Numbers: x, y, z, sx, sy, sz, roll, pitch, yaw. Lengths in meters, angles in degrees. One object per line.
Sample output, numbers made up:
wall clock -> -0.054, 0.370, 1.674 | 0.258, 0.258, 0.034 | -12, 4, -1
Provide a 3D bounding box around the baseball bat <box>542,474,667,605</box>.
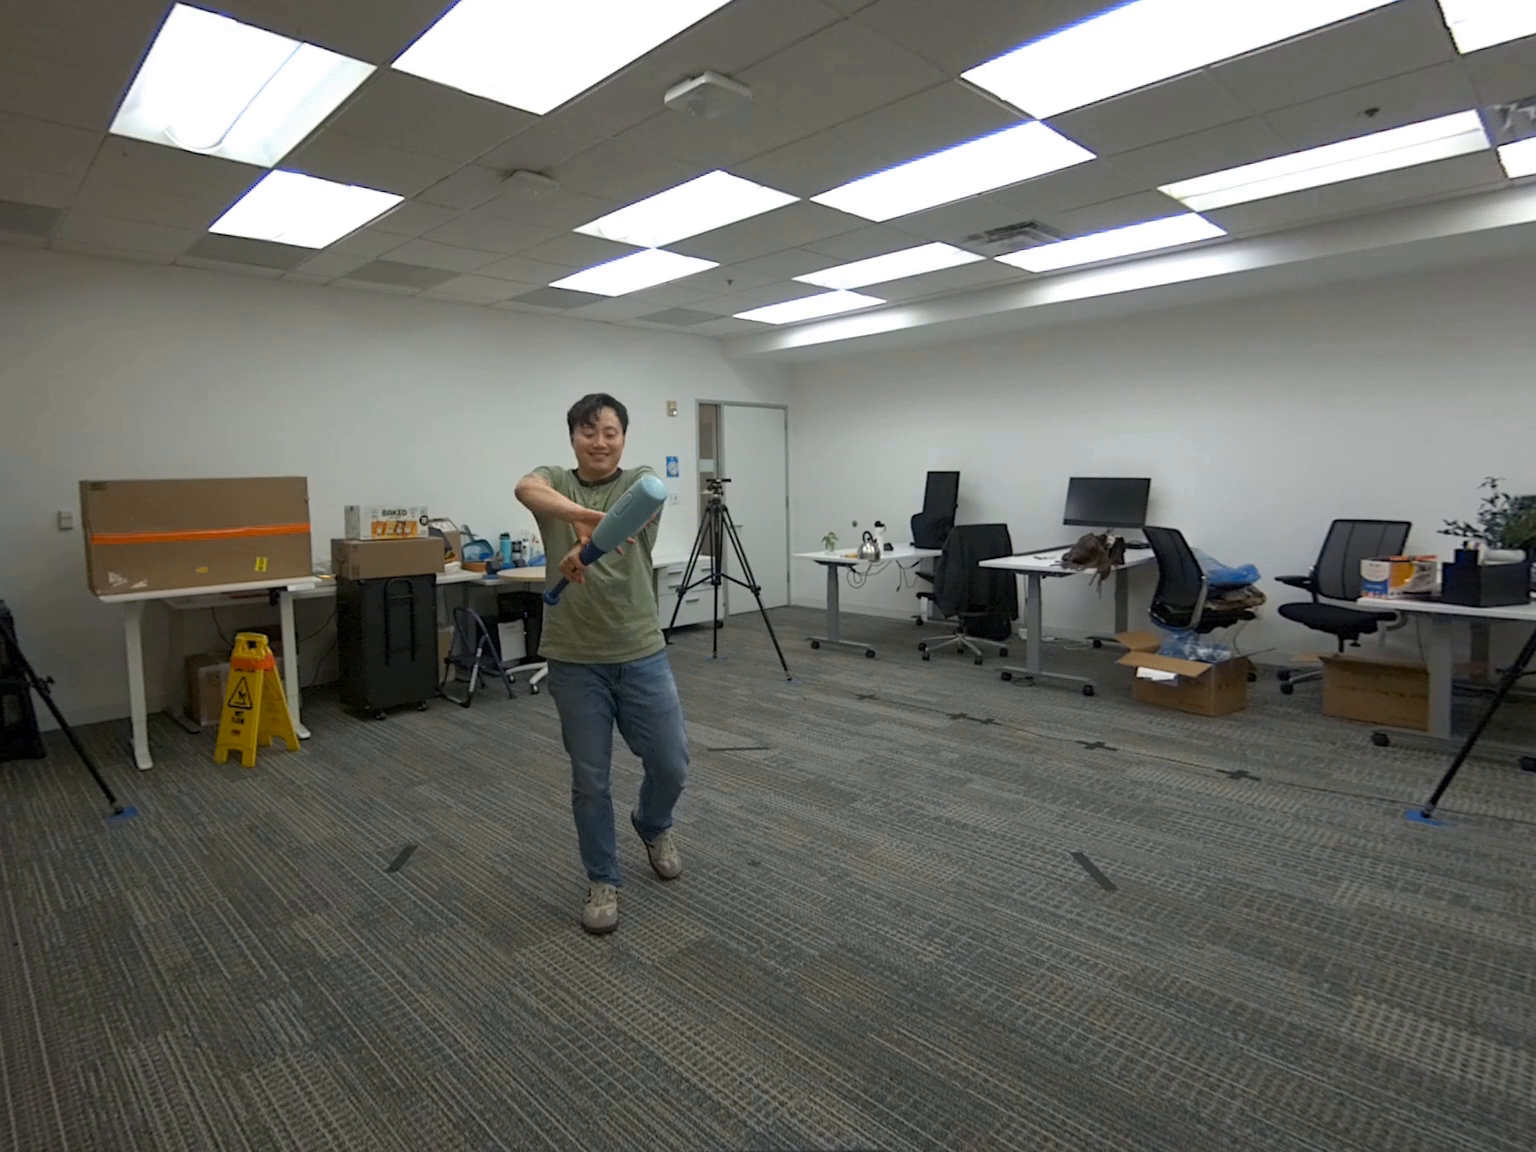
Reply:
baseball bat -> -0.443, -0.073, 2.278 | 0.087, 0.091, 0.545 | -6, -27, -50
